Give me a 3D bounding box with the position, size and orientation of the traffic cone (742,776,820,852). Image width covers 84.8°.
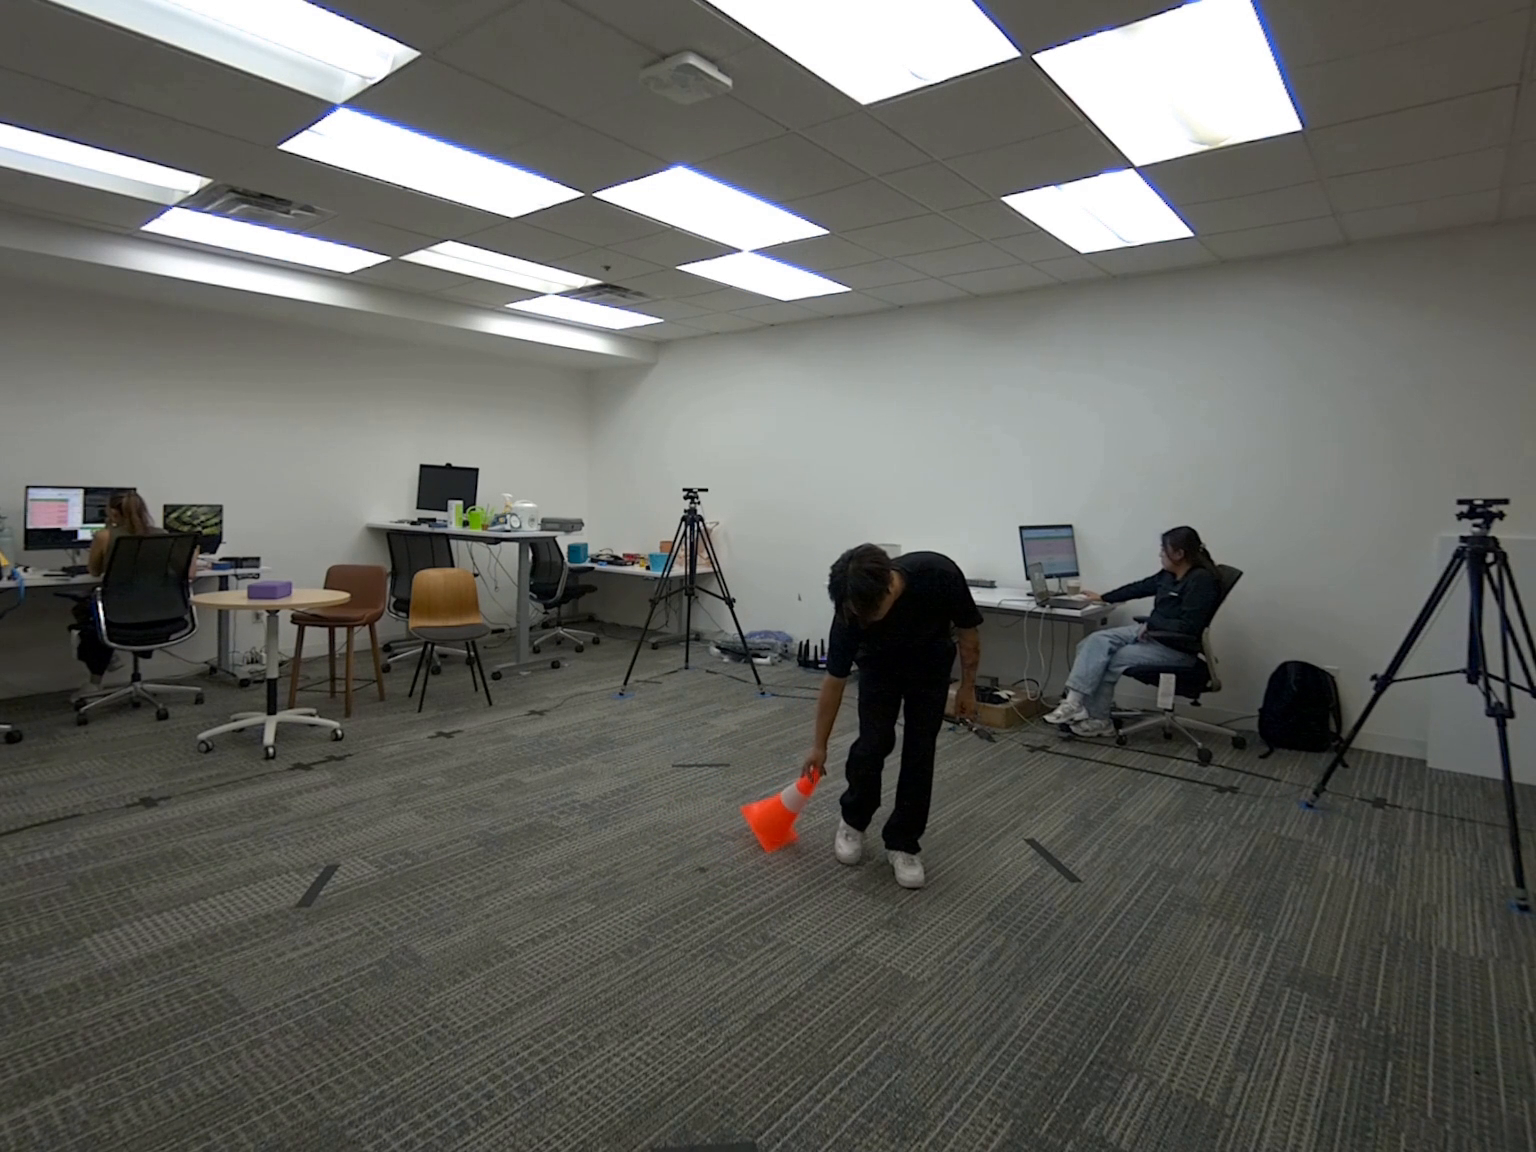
[{"bbox_3d":[0.088,0.853,3.293,0.197,0.381,0.213,-4,46,-45],"label":"traffic cone"}]
